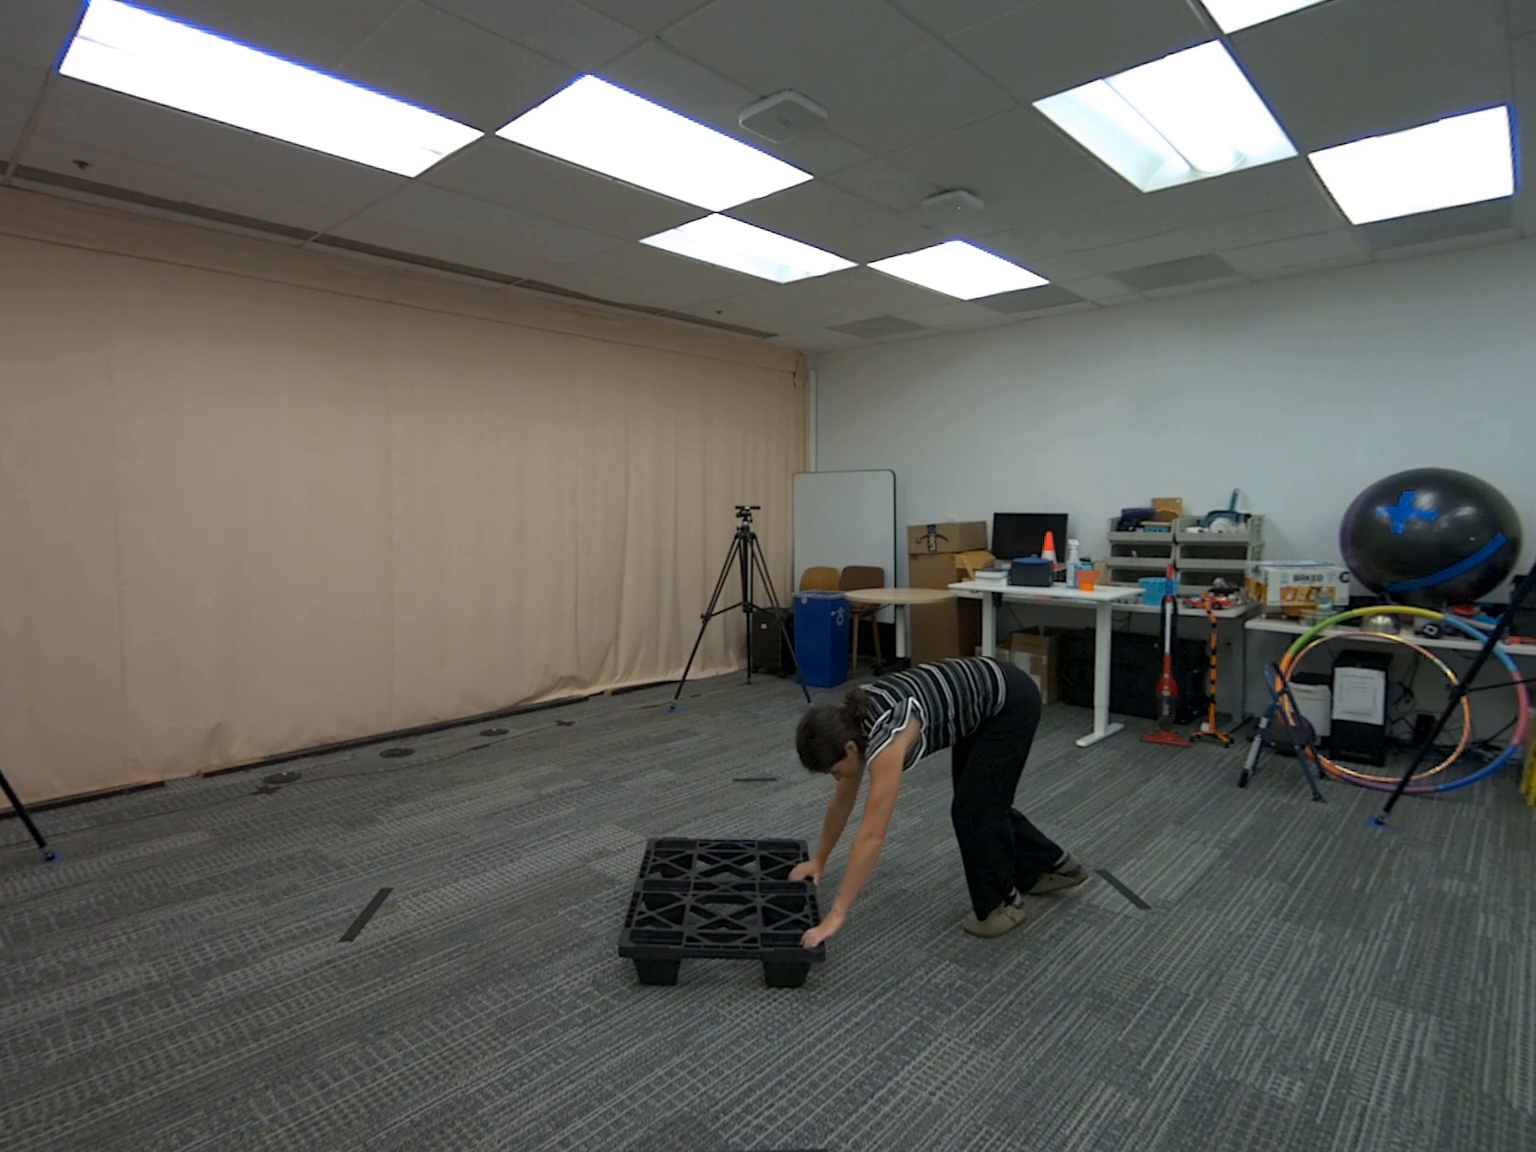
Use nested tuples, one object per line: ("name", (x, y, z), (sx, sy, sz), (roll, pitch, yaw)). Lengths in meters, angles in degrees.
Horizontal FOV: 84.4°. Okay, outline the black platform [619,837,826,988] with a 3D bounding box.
("black platform", (-0.142, 1.091, 2.797), (0.606, 0.143, 0.807), (-1, 5, 0))
